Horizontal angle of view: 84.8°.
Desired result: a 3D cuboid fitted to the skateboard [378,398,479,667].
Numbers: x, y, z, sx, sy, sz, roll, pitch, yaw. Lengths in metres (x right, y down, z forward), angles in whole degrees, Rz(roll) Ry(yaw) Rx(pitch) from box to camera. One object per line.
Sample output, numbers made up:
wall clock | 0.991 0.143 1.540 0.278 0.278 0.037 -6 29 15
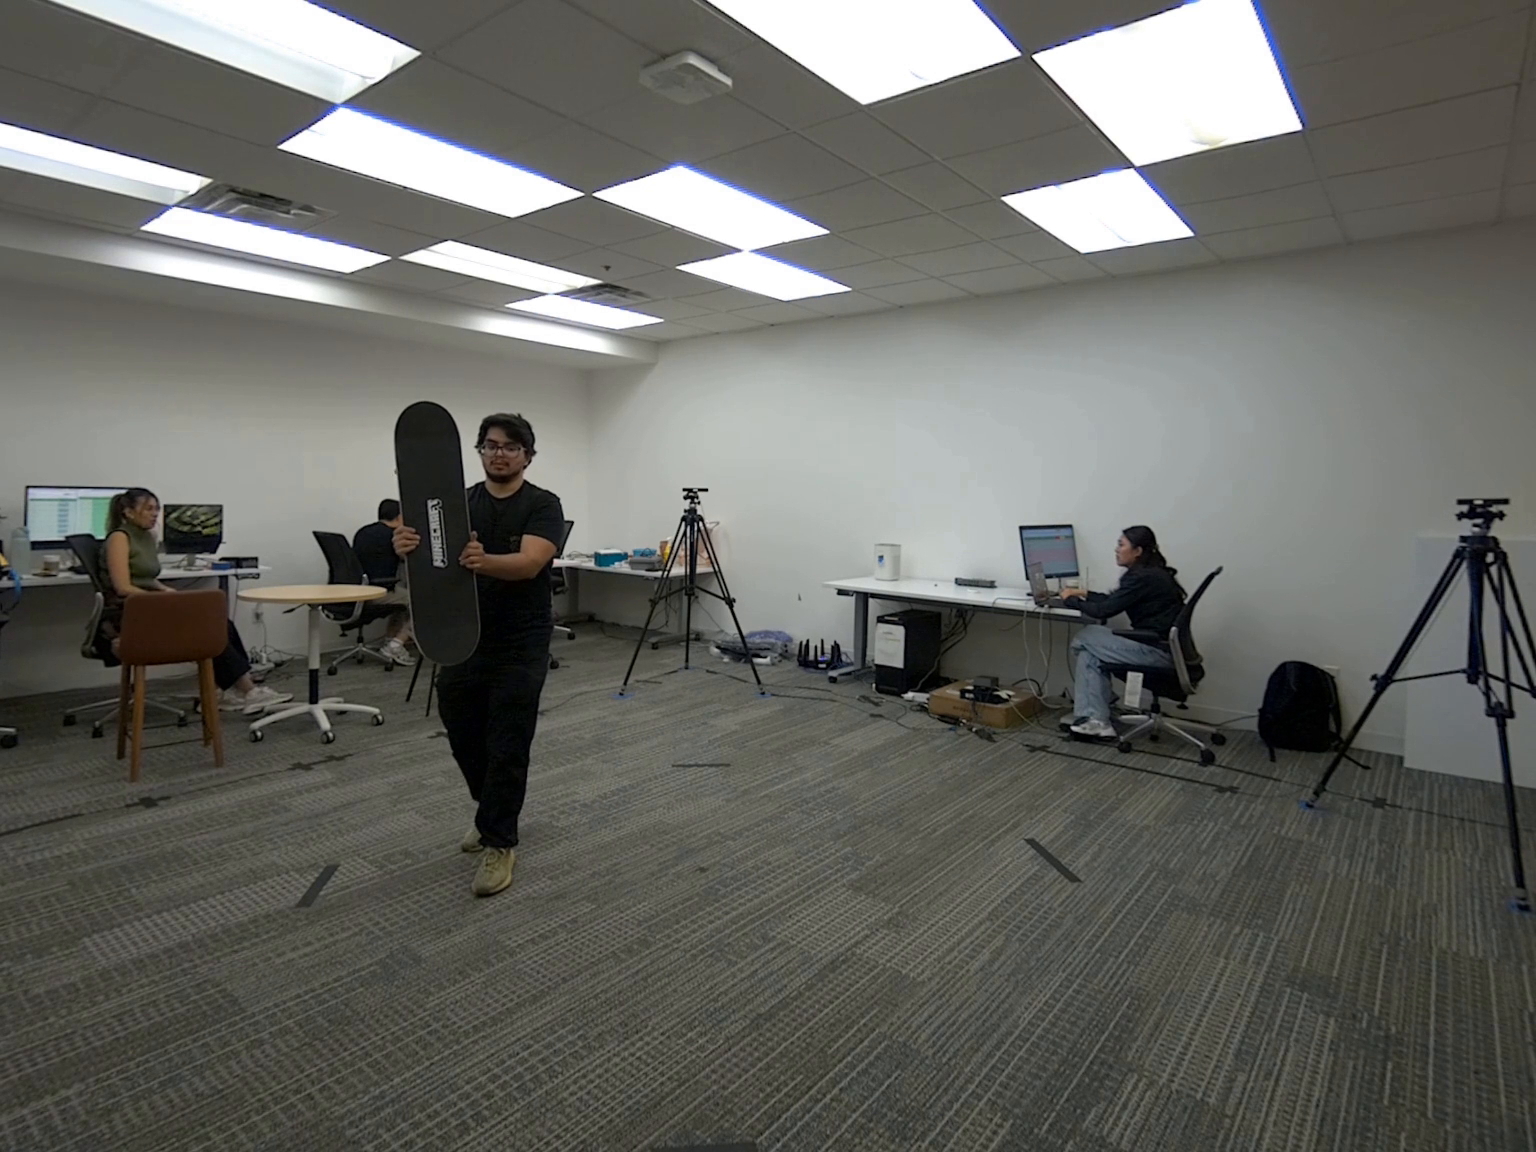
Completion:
skateboard | -1.035 -0.136 2.574 0.193 0.787 0.110 -7 -1 -3
